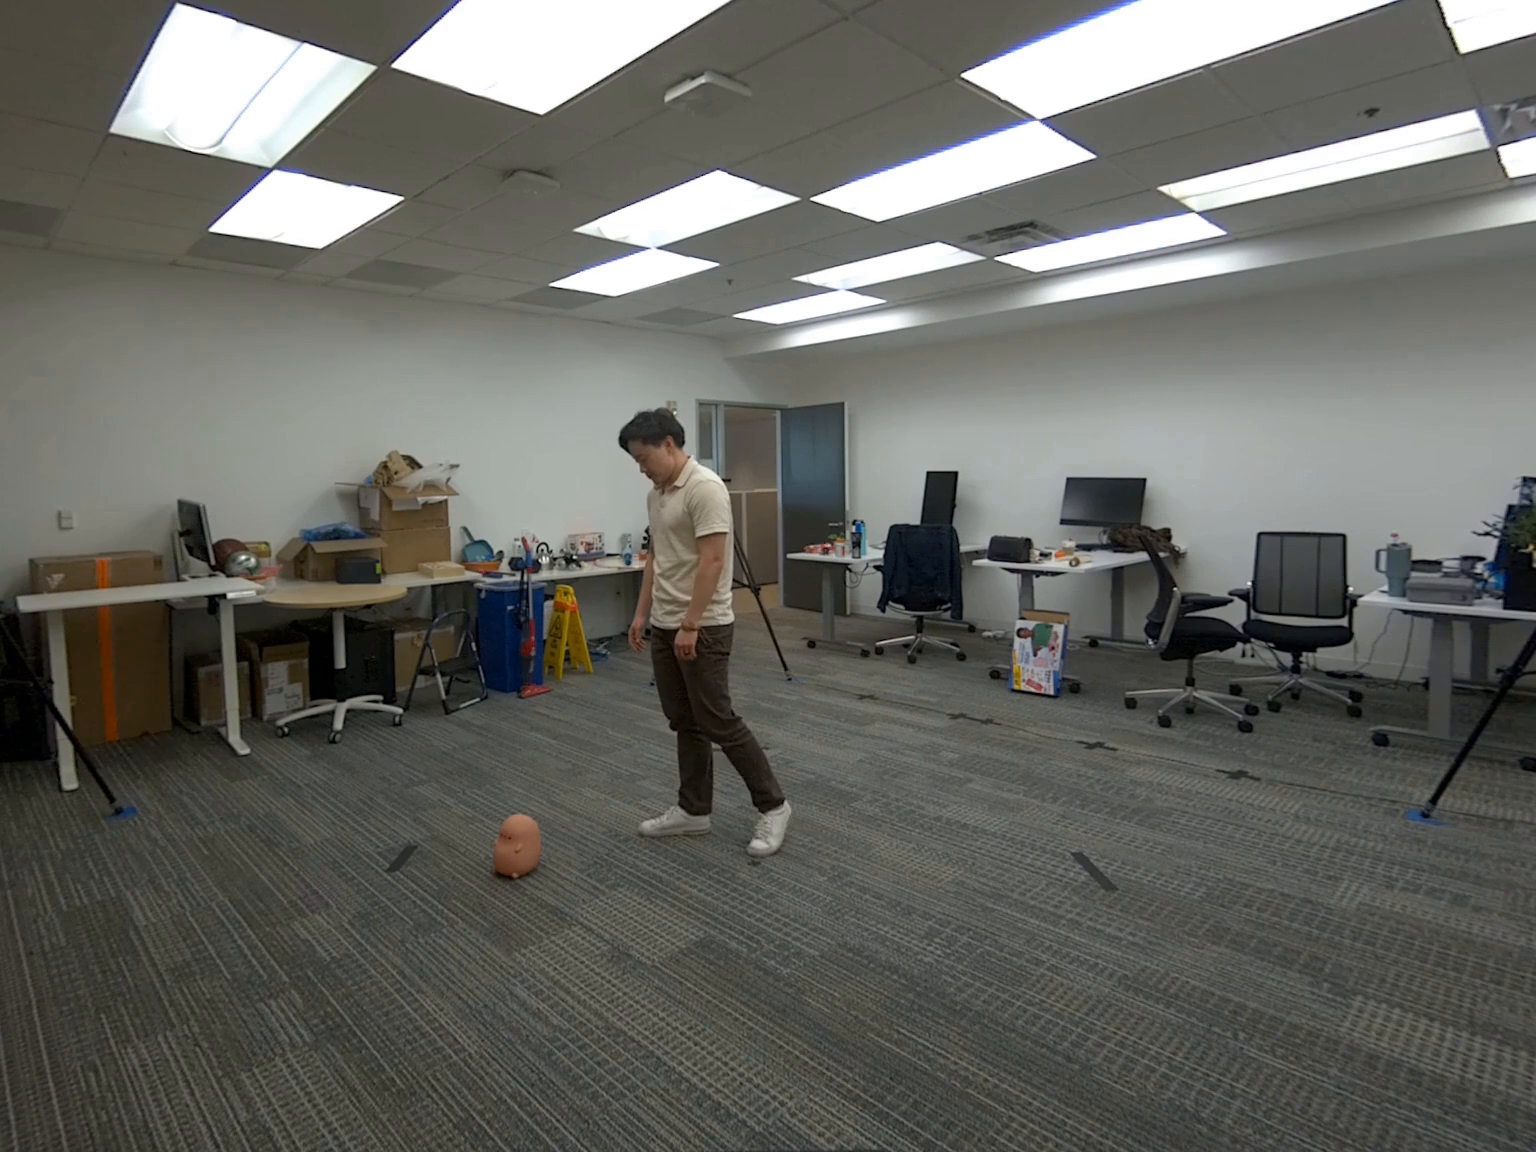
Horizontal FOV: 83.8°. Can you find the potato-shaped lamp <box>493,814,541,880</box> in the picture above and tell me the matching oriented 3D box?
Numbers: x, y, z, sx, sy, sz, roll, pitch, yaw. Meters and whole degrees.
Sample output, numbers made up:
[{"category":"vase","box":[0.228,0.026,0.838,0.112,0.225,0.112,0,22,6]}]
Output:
[{"category":"potato-shaped lamp","box":[-0.903,0.966,3.085,0.169,0.197,0.168,1,8,36]}]
